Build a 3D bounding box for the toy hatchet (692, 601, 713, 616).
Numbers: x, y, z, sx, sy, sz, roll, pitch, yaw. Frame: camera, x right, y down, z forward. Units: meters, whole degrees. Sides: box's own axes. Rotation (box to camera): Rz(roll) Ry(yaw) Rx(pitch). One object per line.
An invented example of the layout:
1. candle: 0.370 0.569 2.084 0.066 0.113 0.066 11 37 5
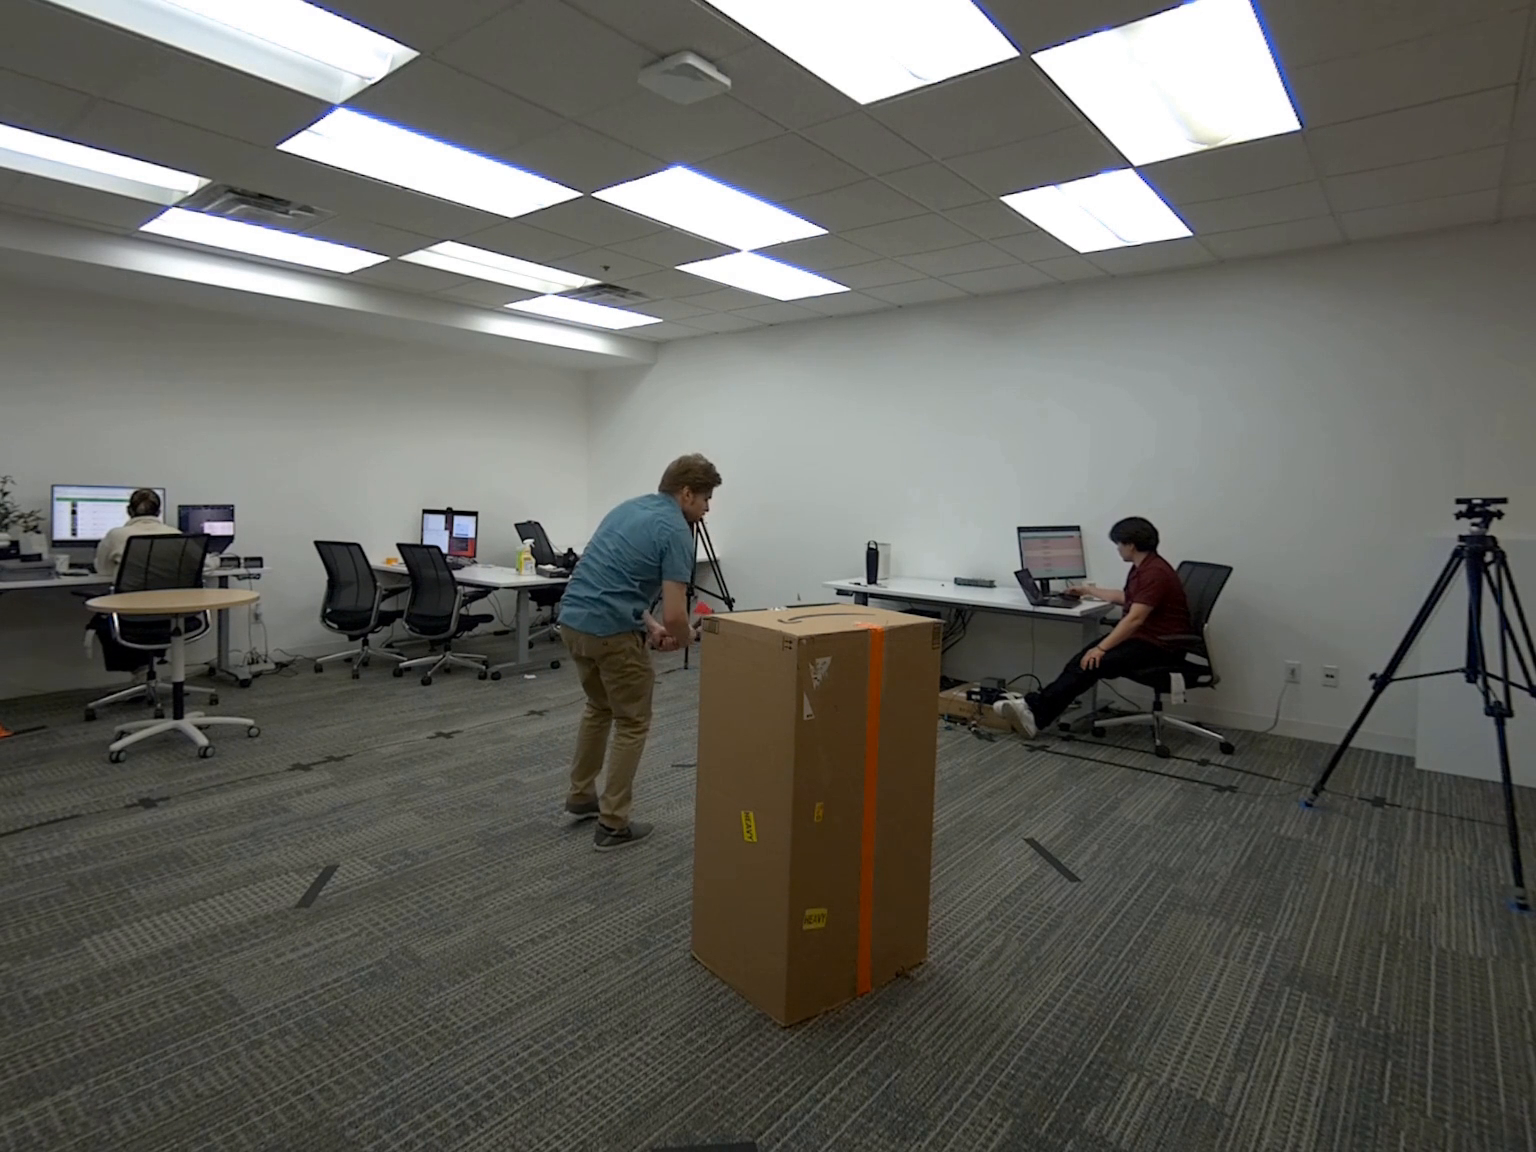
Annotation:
1. toy hatchet: -0.350 0.190 3.521 0.265 0.129 0.030 -18 13 -26
